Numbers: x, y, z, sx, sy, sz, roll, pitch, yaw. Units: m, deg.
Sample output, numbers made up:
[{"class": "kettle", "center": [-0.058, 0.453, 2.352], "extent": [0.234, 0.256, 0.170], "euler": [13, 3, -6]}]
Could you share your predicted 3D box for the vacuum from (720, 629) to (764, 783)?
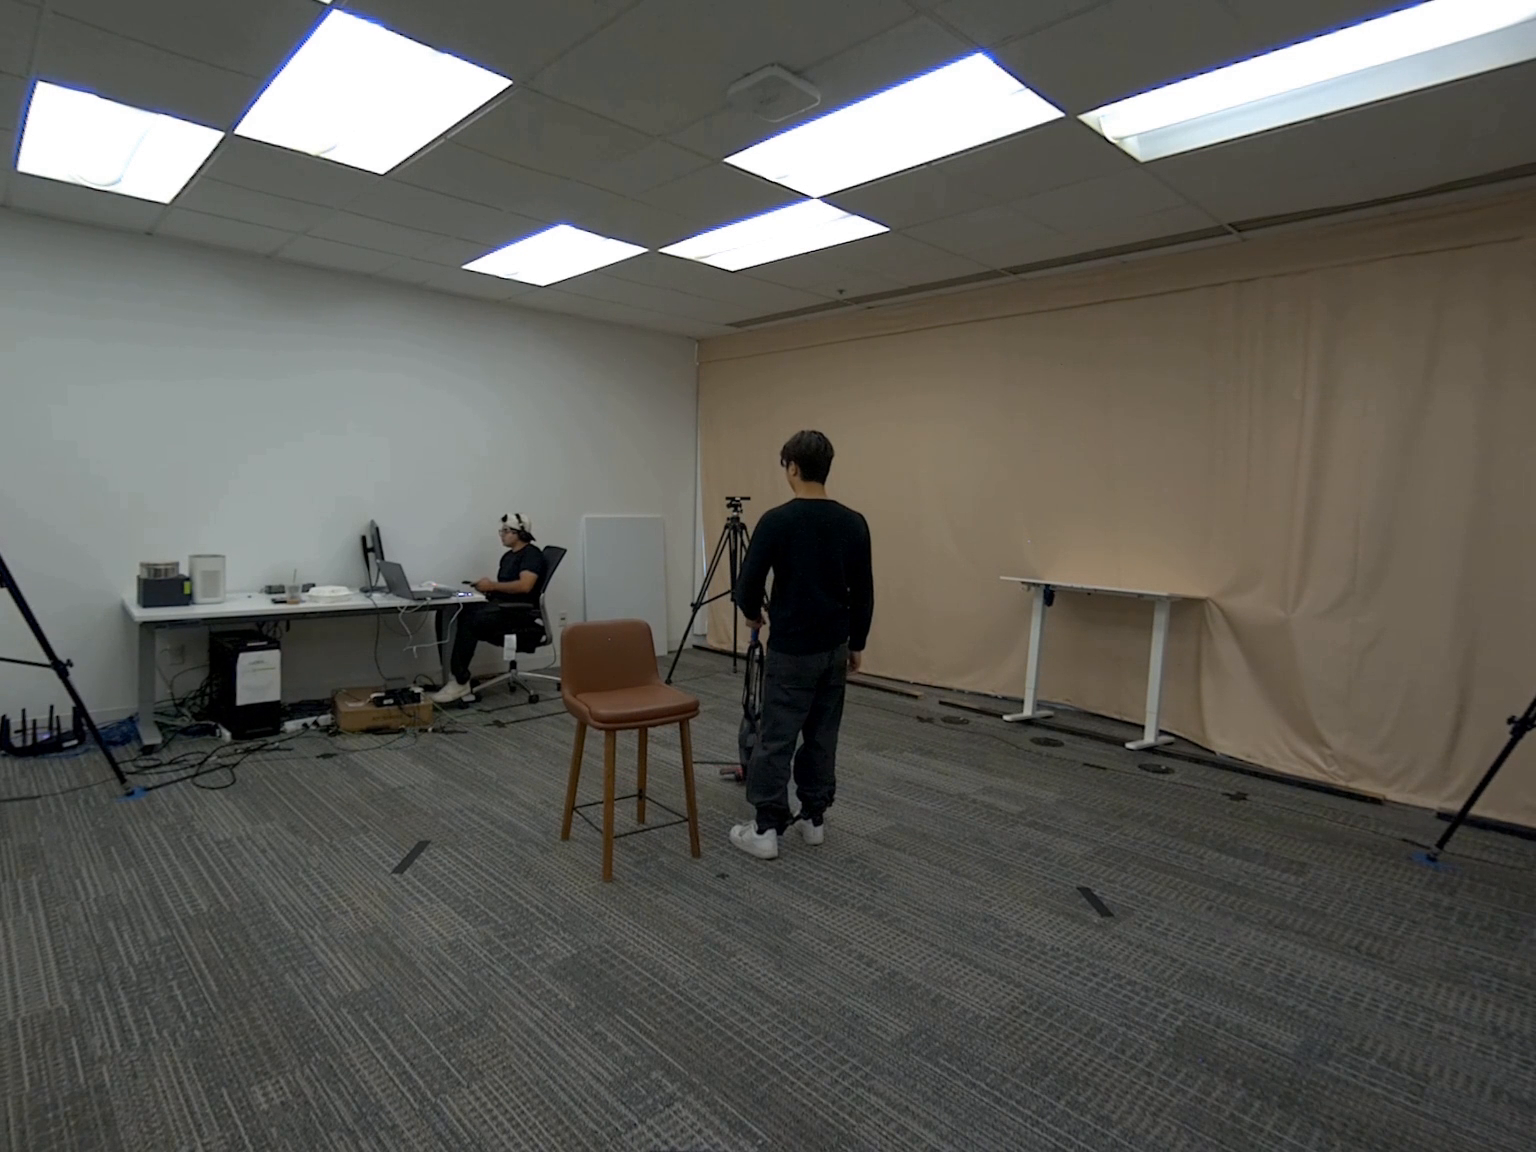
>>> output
[{"class": "vacuum", "center": [-0.087, 0.582, 3.856], "extent": [0.250, 1.029, 0.148], "euler": [-4, 37, -11]}]
